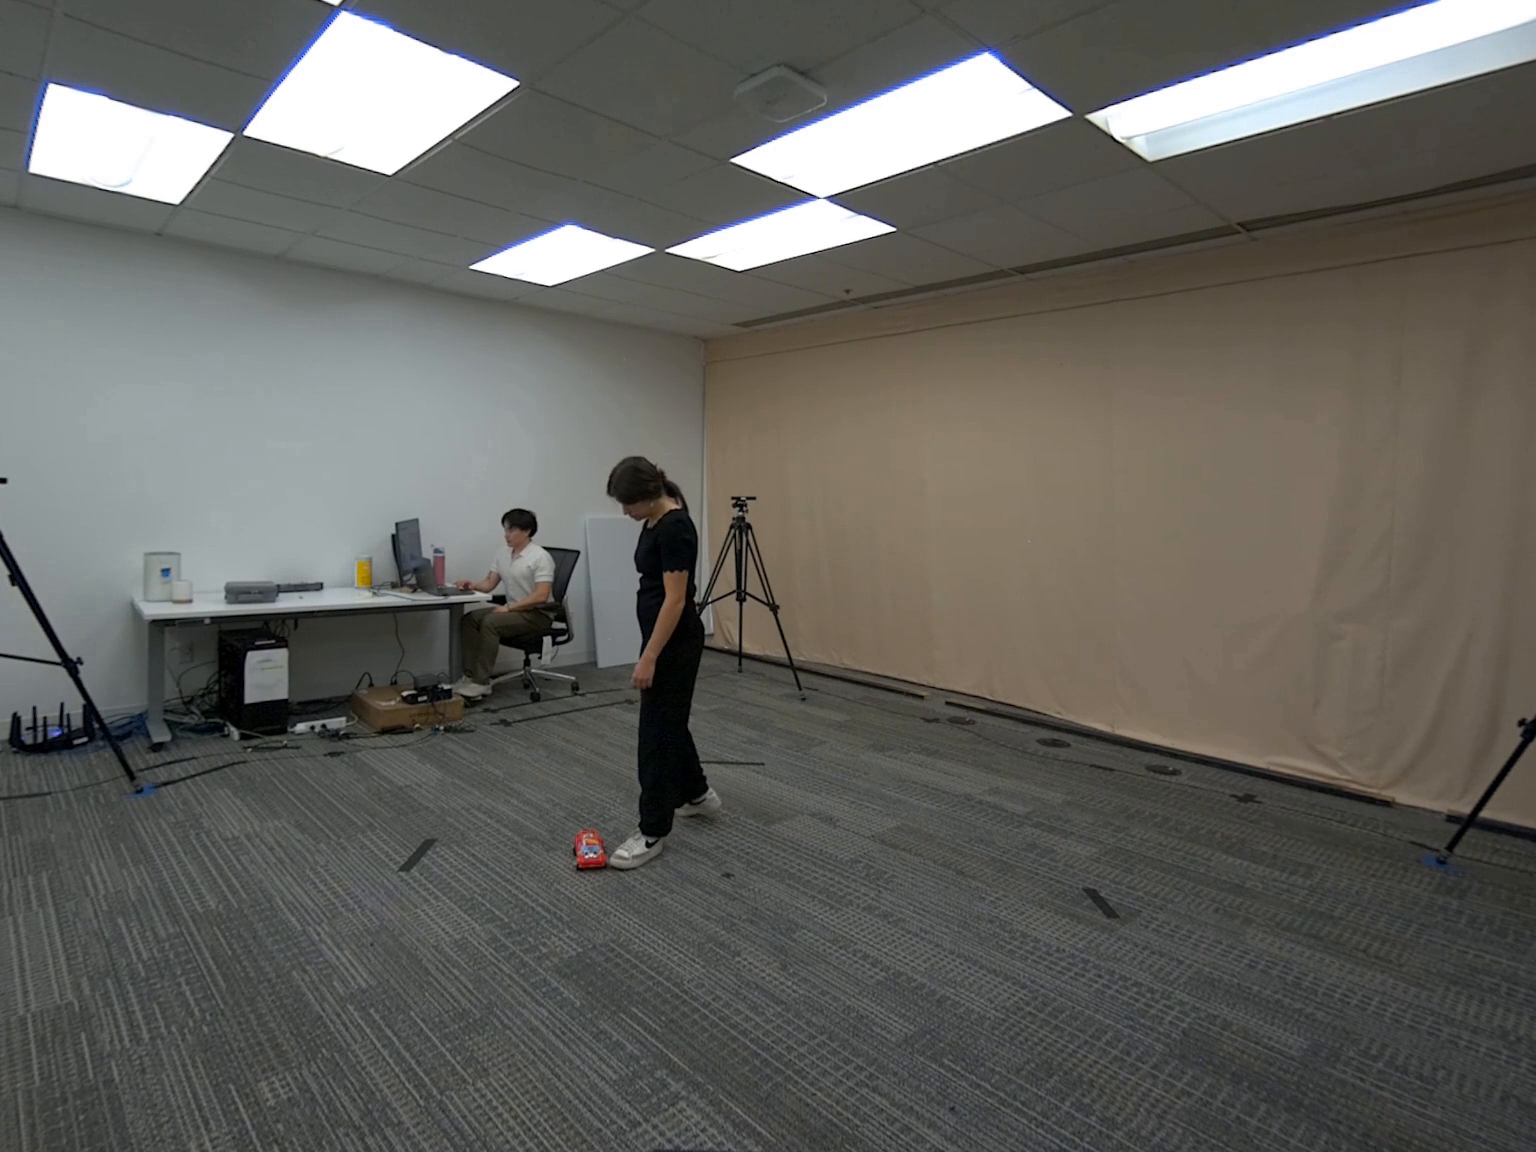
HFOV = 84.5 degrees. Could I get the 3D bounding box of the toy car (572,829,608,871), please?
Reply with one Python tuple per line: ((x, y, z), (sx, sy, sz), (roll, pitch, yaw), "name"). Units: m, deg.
((-0.690, 1.050, 3.223), (0.129, 0.082, 0.260), (1, 16, -15), "toy car")
